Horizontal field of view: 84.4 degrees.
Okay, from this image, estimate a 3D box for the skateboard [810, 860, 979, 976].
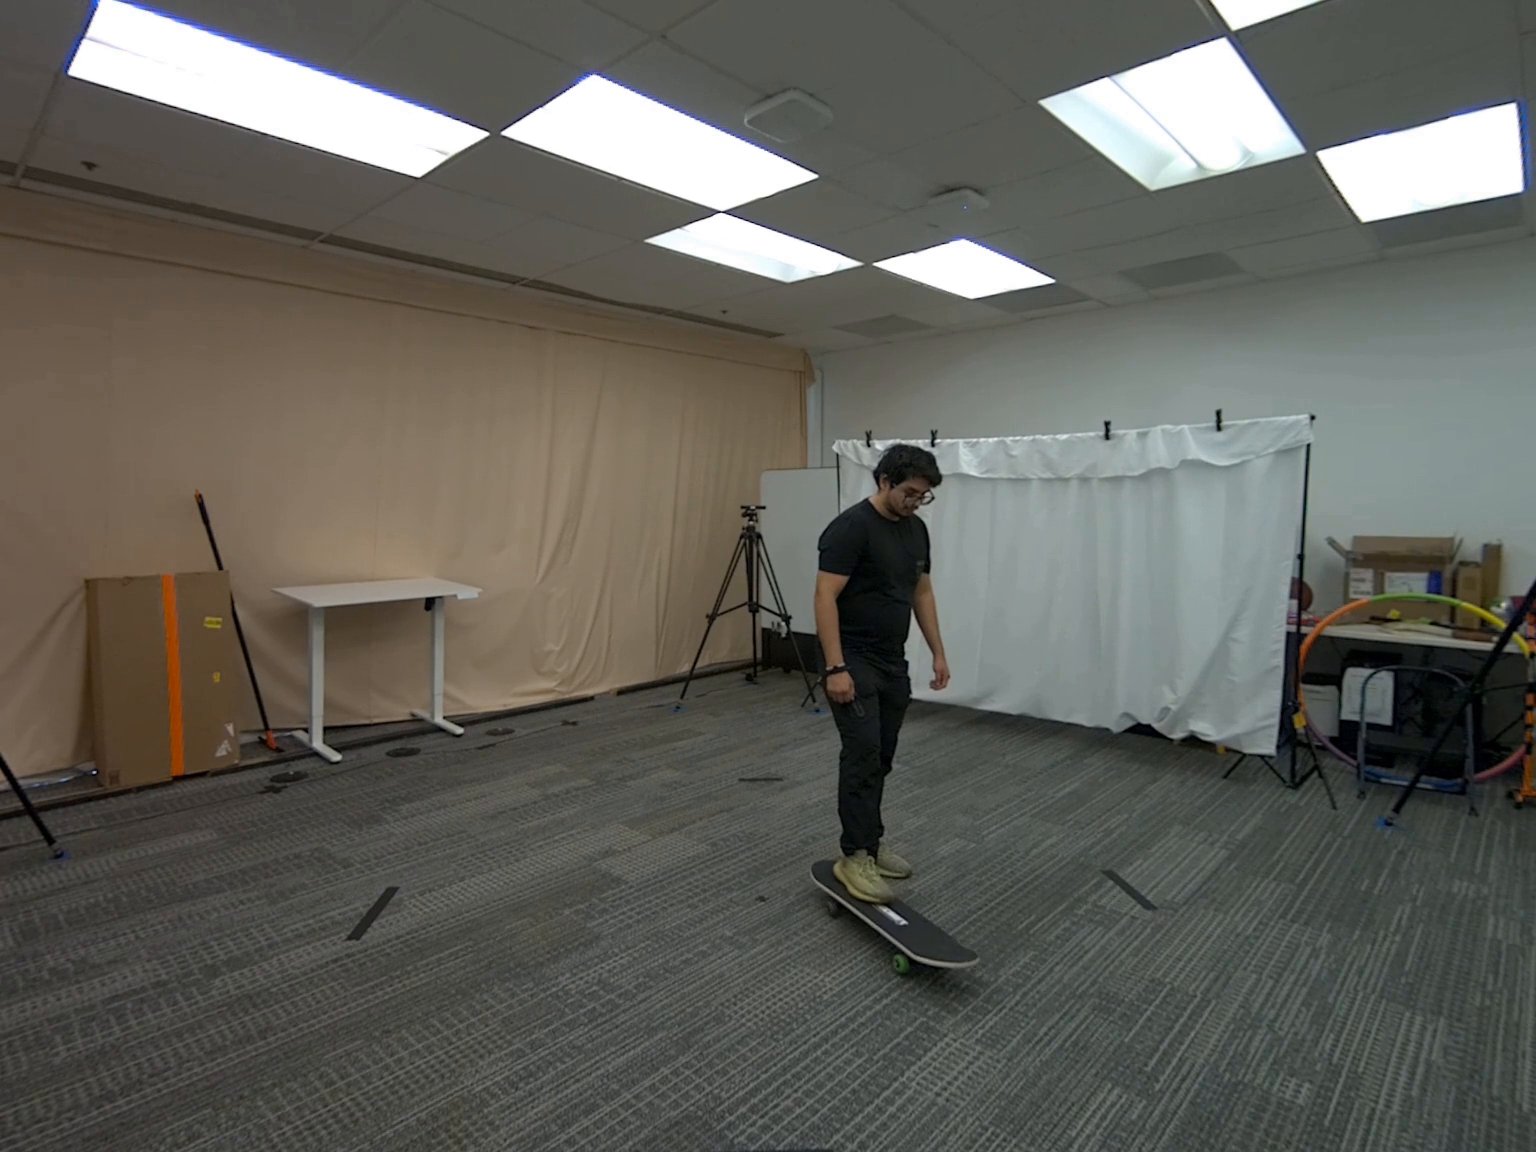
[{"bbox_3d":[0.379,1.104,2.709,0.189,0.110,0.805,3,2,-26],"label":"skateboard"}]
